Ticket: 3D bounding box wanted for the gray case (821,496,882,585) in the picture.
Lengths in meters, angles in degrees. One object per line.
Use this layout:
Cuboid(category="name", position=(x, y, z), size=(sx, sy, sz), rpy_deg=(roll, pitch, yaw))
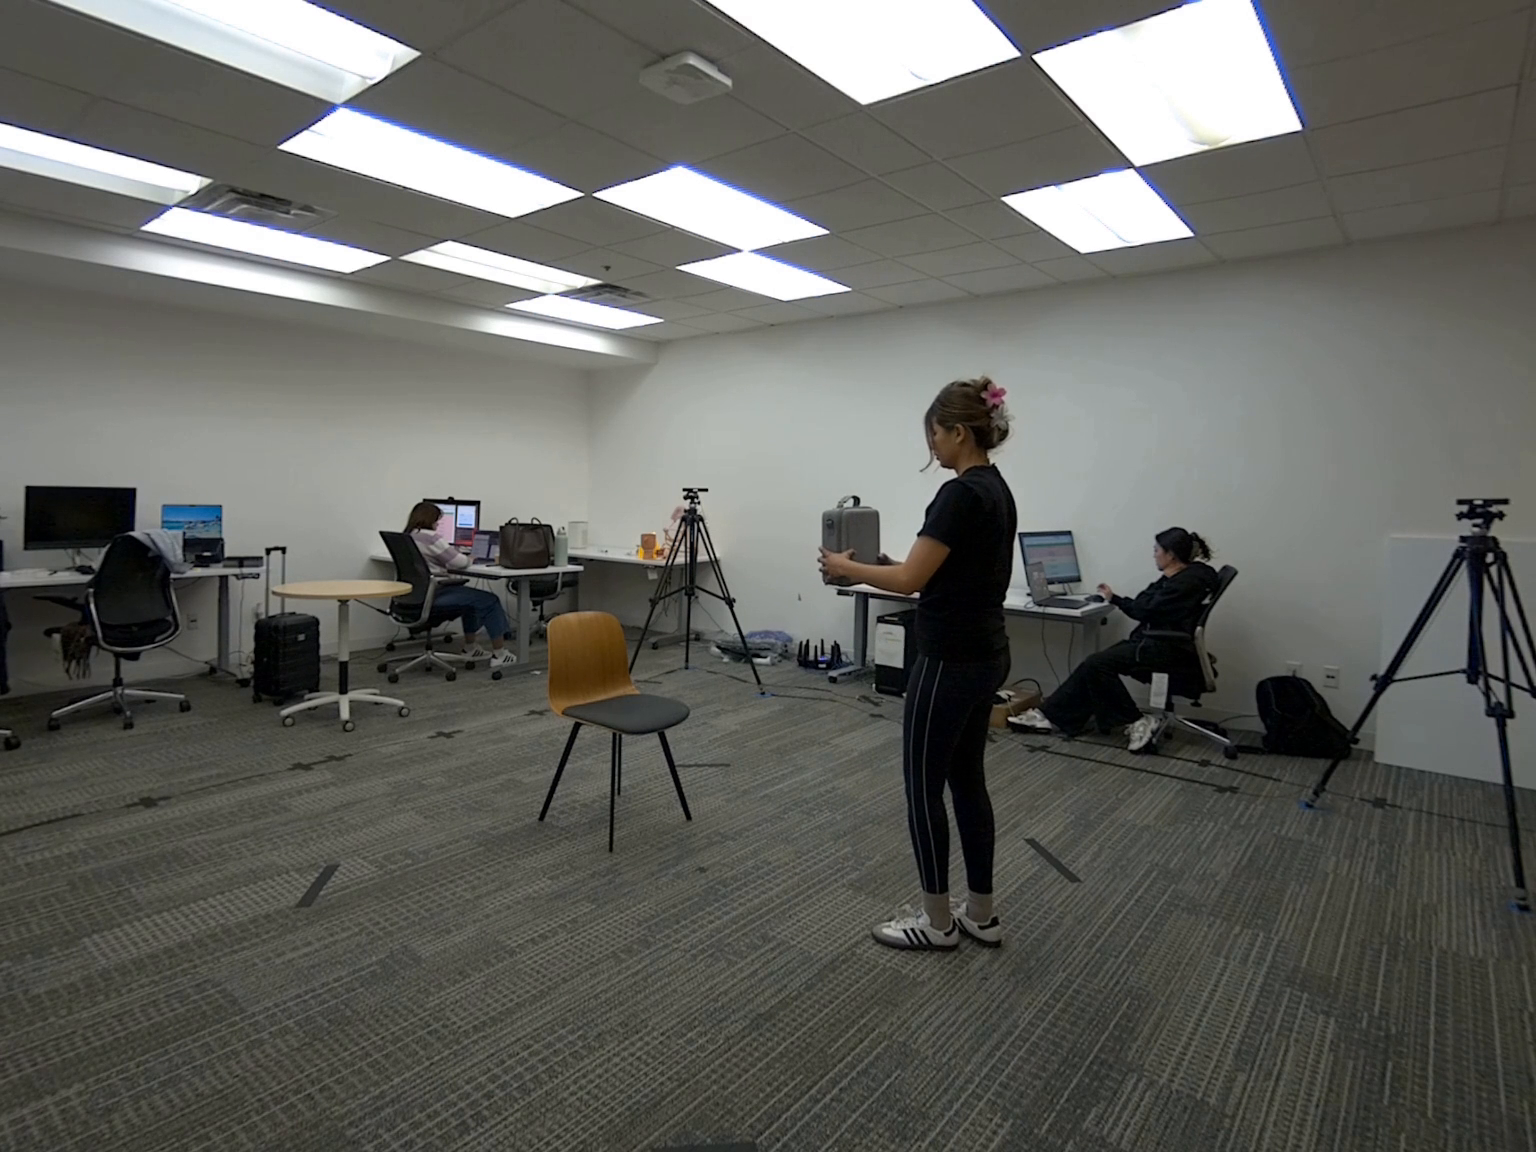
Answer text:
Cuboid(category="gray case", position=(0.271, -0.108, 2.811), size=(0.107, 0.260, 0.250), rpy_deg=(-1, 2, 32))
